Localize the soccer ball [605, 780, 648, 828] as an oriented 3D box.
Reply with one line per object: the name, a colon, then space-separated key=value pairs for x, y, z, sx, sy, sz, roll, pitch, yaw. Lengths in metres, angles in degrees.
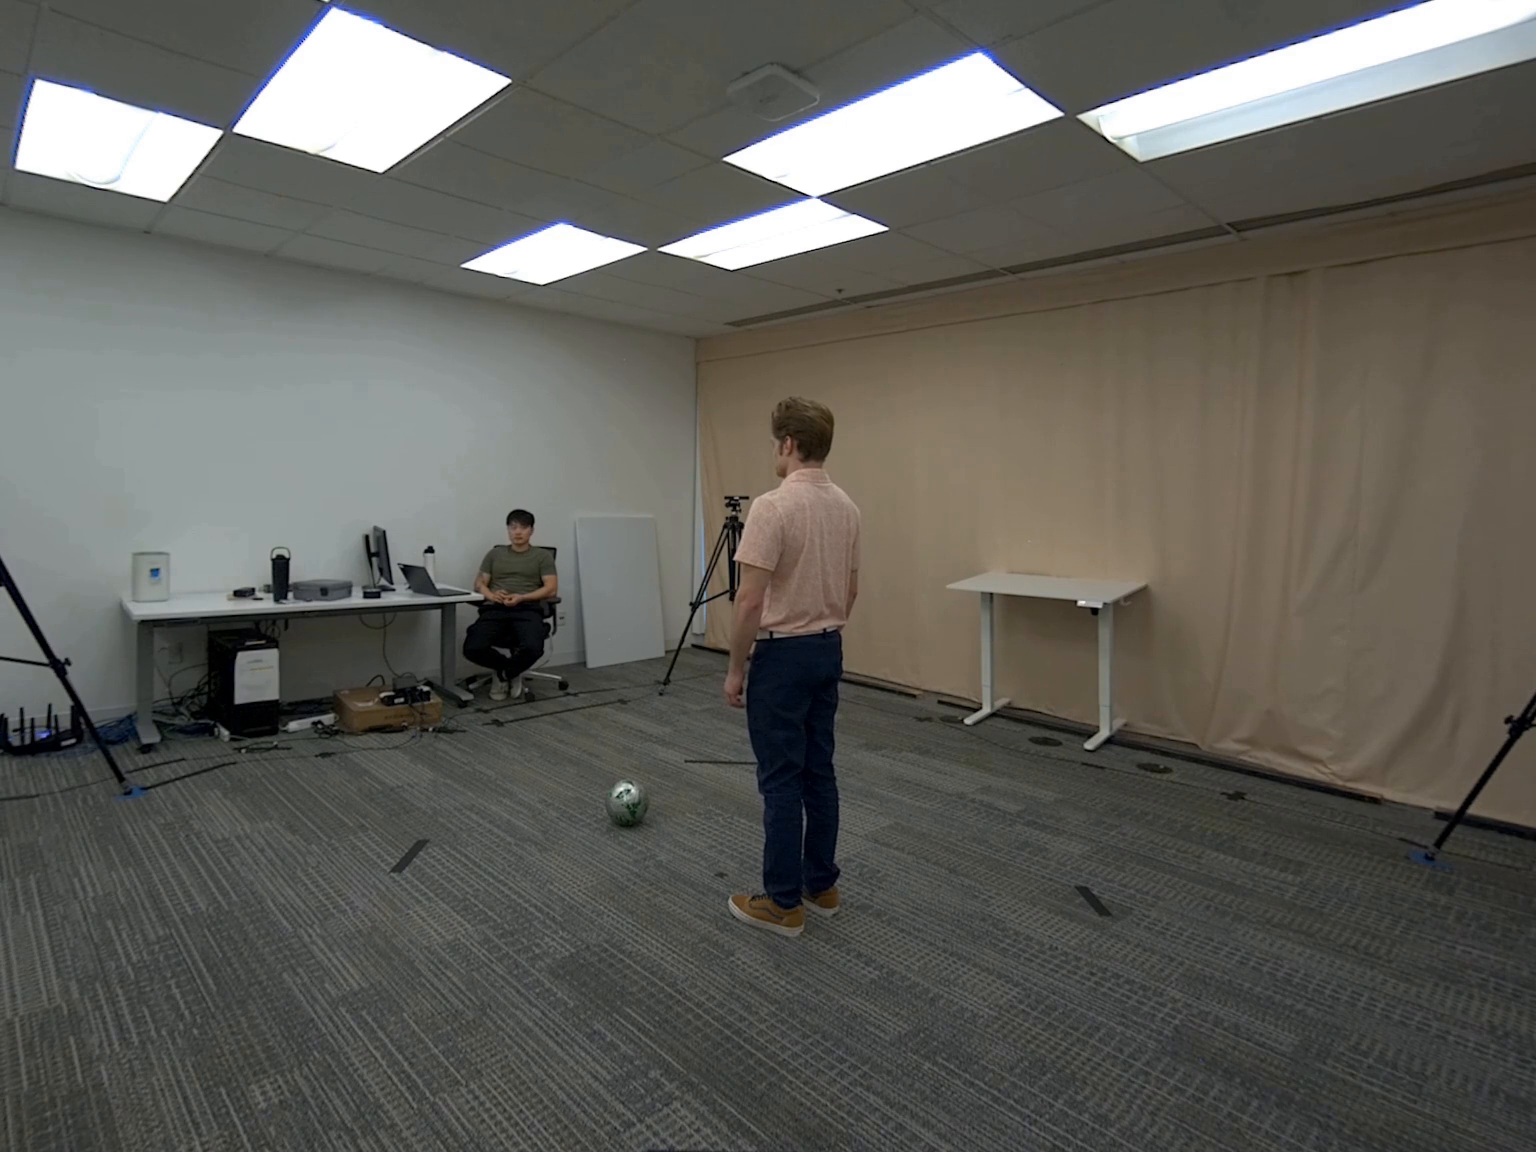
soccer ball: x=-0.605 y=0.958 z=3.566 sx=0.187 sy=0.187 sz=0.188 roll=1 pitch=4 yaw=-1
